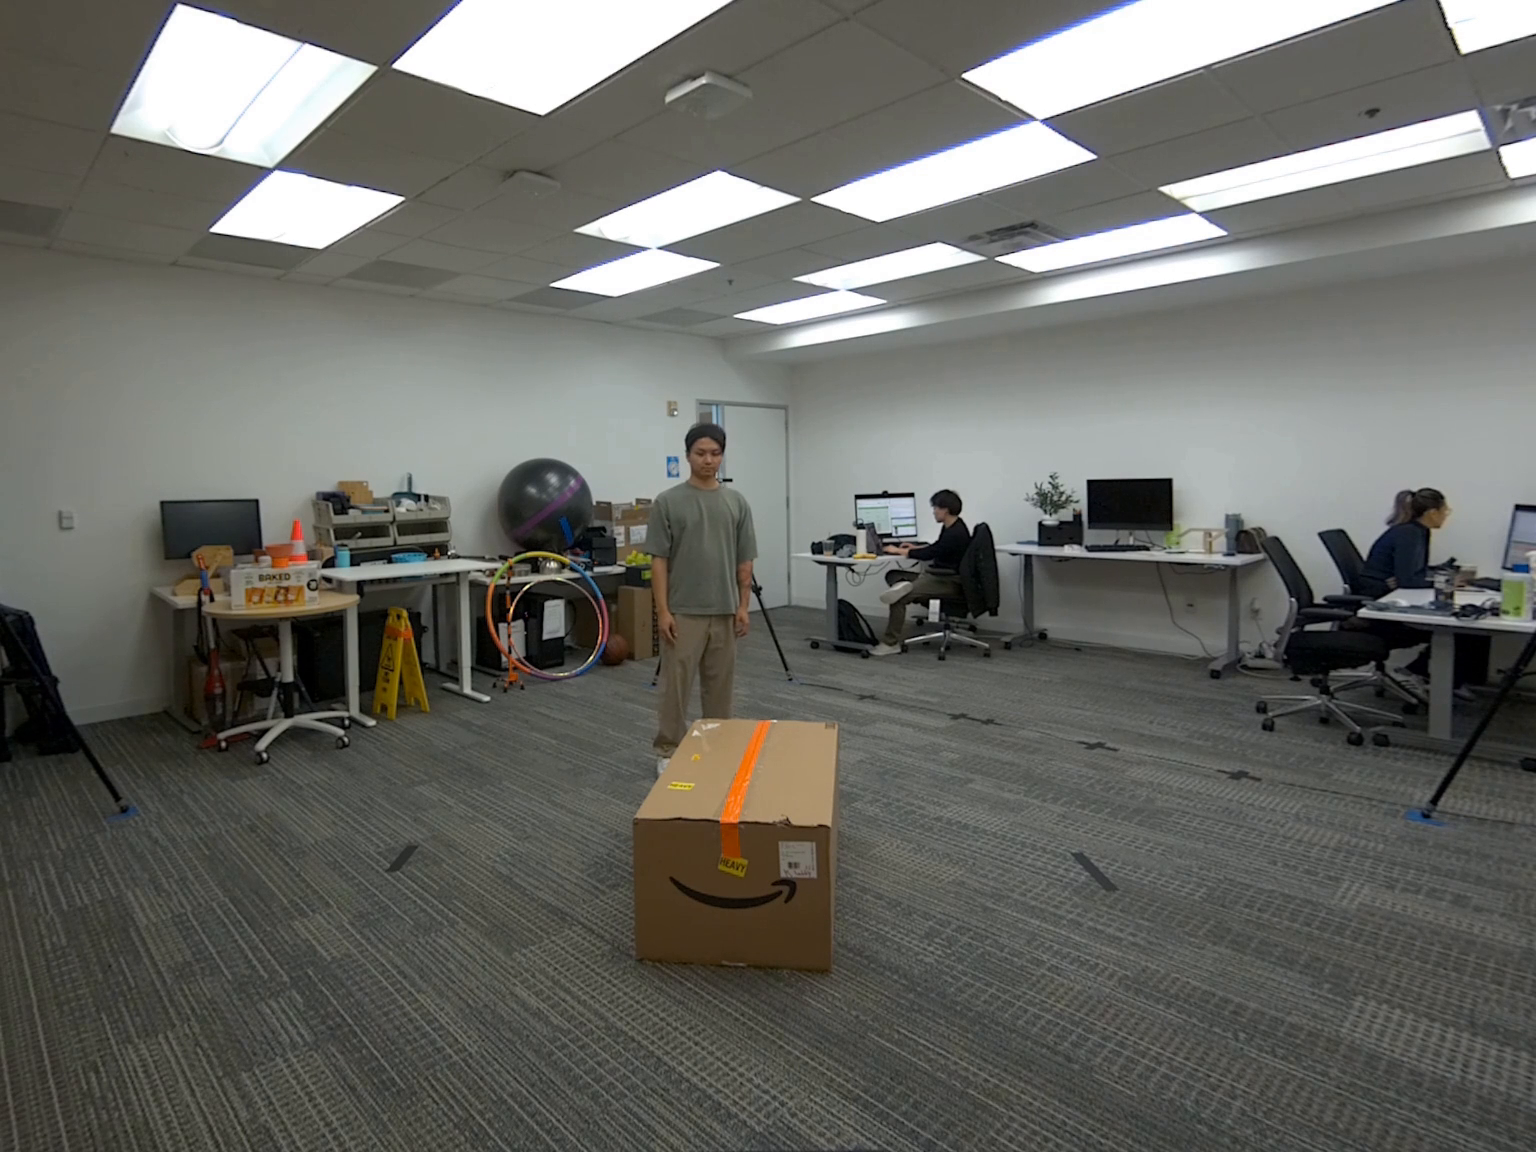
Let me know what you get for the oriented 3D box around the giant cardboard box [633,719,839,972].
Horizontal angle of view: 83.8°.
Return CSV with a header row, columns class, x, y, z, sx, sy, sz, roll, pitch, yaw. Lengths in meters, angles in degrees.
class,x,y,z,sx,sy,sz,roll,pitch,yaw
giant cardboard box,-0.055,0.848,2.939,0.582,0.424,1.023,0,6,6
